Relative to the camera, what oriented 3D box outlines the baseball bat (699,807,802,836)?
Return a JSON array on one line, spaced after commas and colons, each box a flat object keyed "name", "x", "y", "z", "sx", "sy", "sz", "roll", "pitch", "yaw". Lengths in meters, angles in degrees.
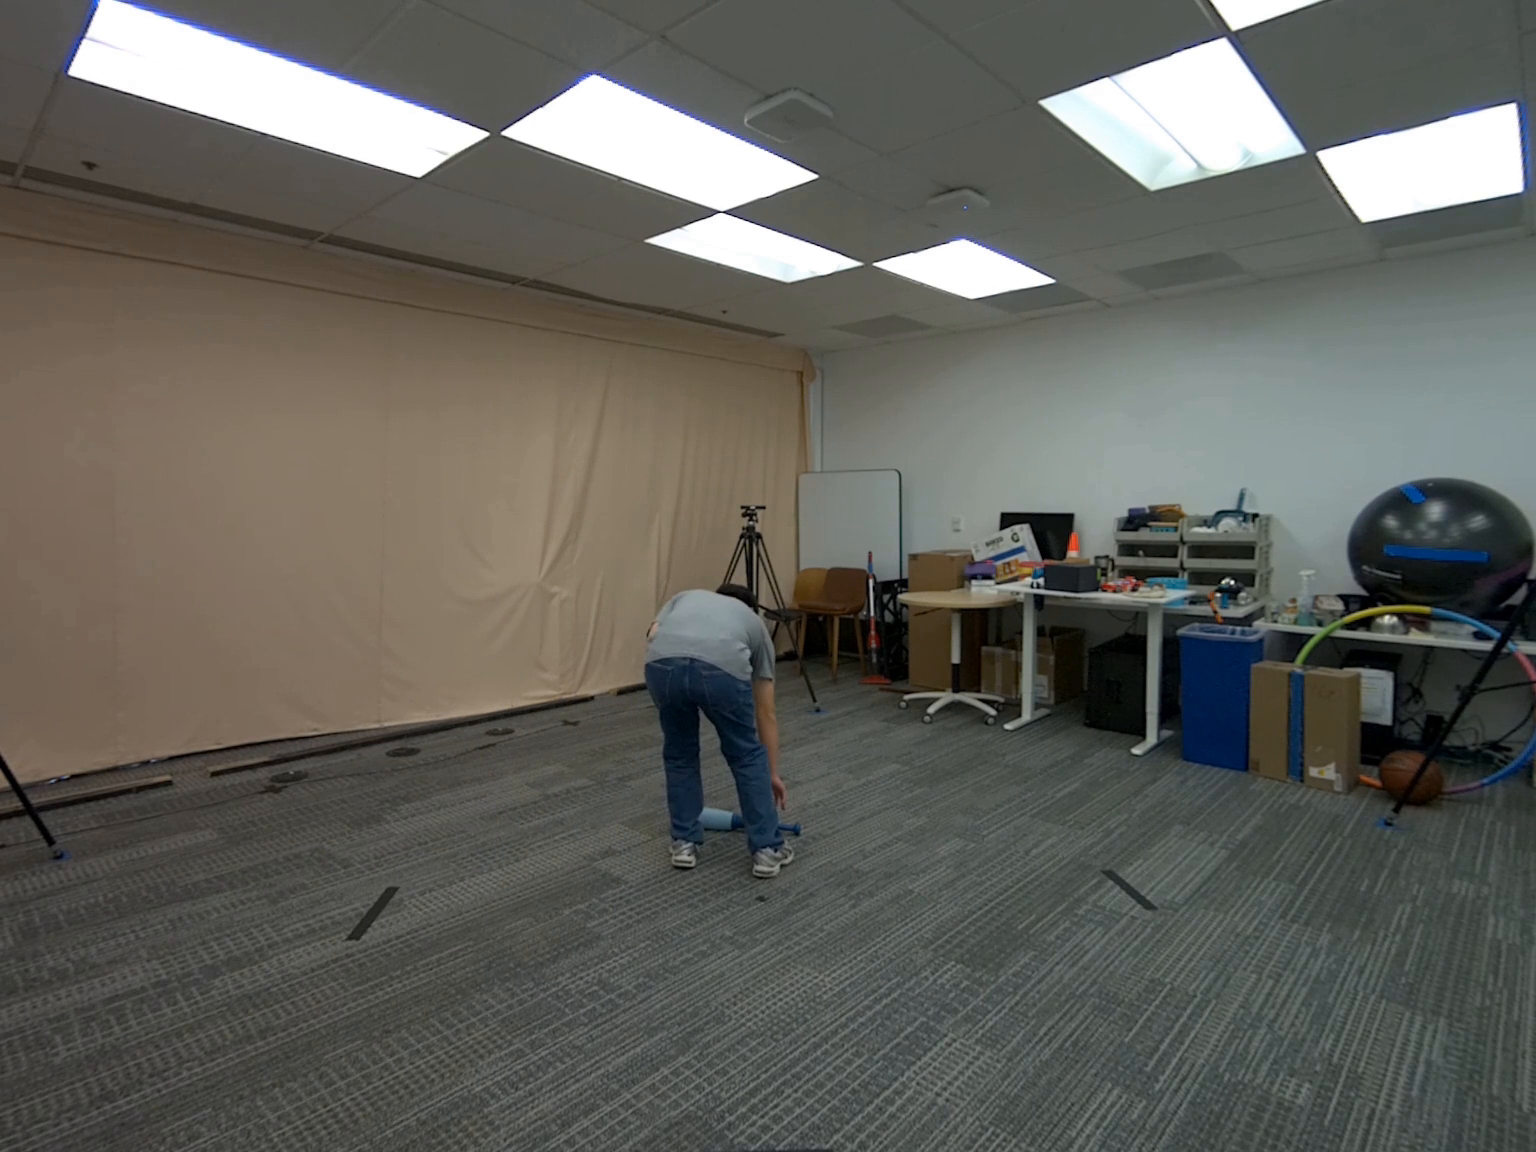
[{"name": "baseball bat", "x": -0.130, "y": 1.052, "z": 3.609, "sx": 0.550, "sy": 0.089, "sz": 0.088, "roll": 2, "pitch": 4, "yaw": 11}]
